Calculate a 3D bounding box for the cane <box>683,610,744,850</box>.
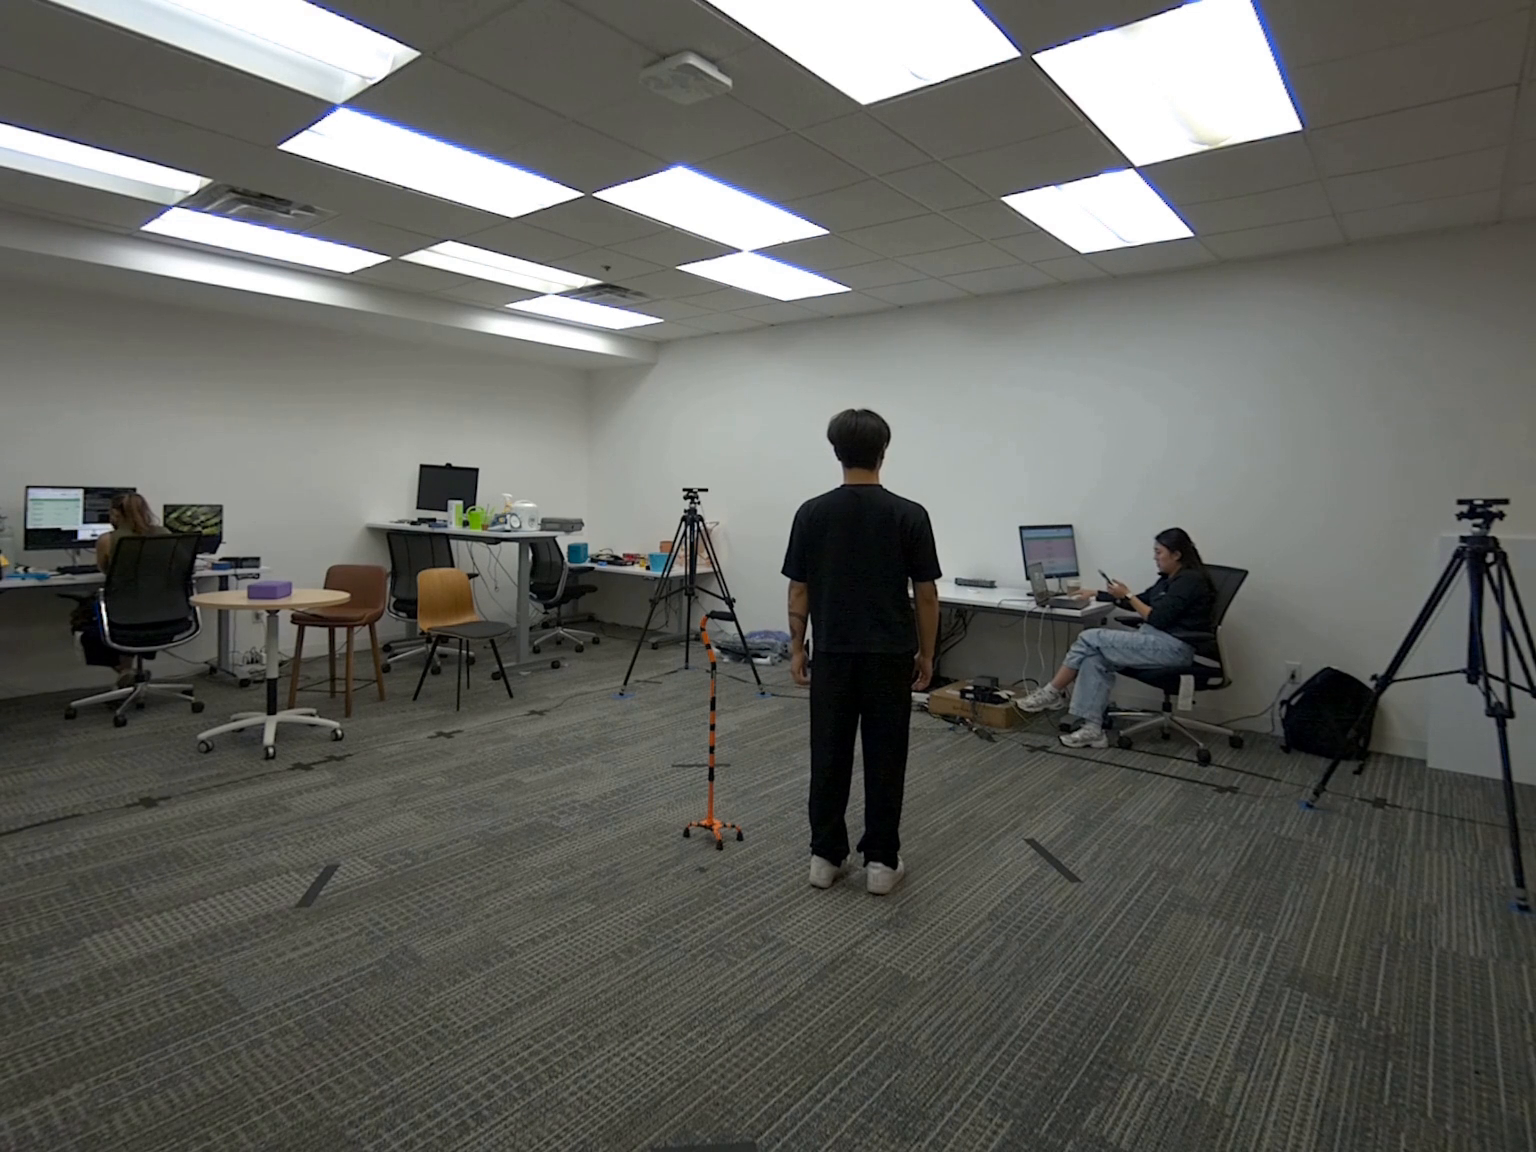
[{"bbox_3d":[-0.221,0.592,3.374,0.213,0.906,0.147,2,3,40],"label":"cane"}]
